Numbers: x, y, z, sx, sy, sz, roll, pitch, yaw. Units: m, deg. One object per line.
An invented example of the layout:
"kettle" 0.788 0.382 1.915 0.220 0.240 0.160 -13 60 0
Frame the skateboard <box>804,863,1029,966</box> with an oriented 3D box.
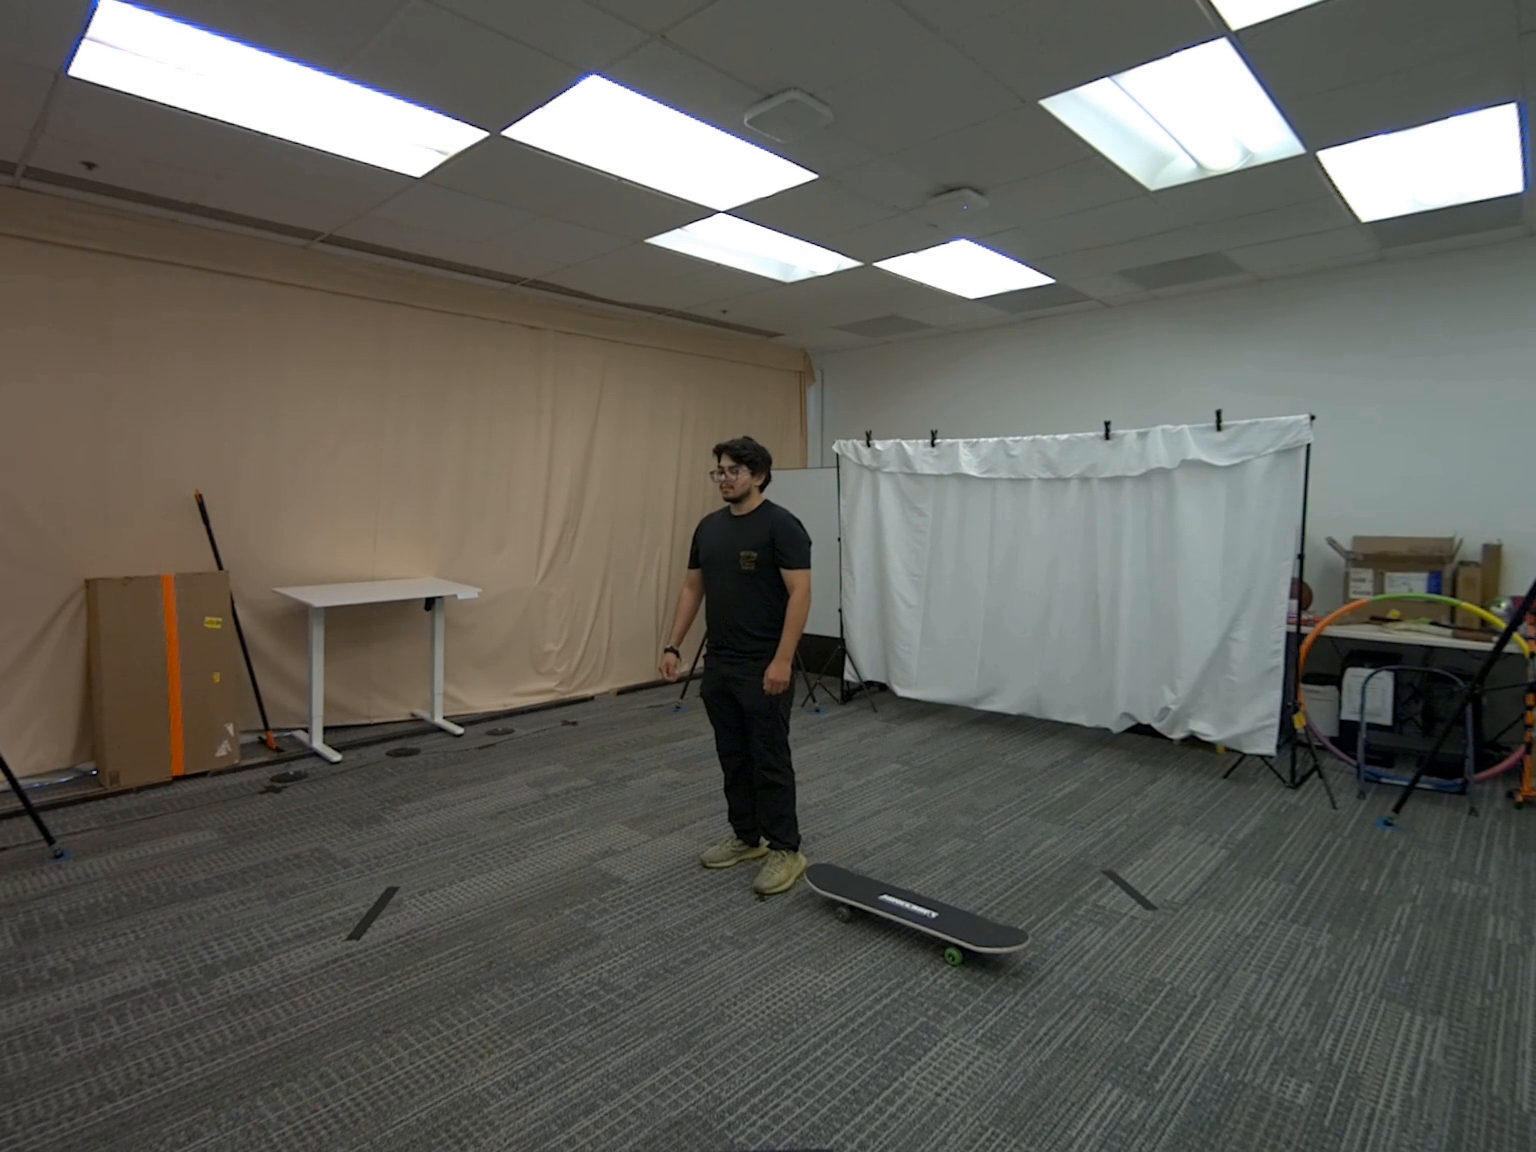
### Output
"skateboard" 0.462 1.107 2.742 0.811 0.110 0.187 4 6 40
